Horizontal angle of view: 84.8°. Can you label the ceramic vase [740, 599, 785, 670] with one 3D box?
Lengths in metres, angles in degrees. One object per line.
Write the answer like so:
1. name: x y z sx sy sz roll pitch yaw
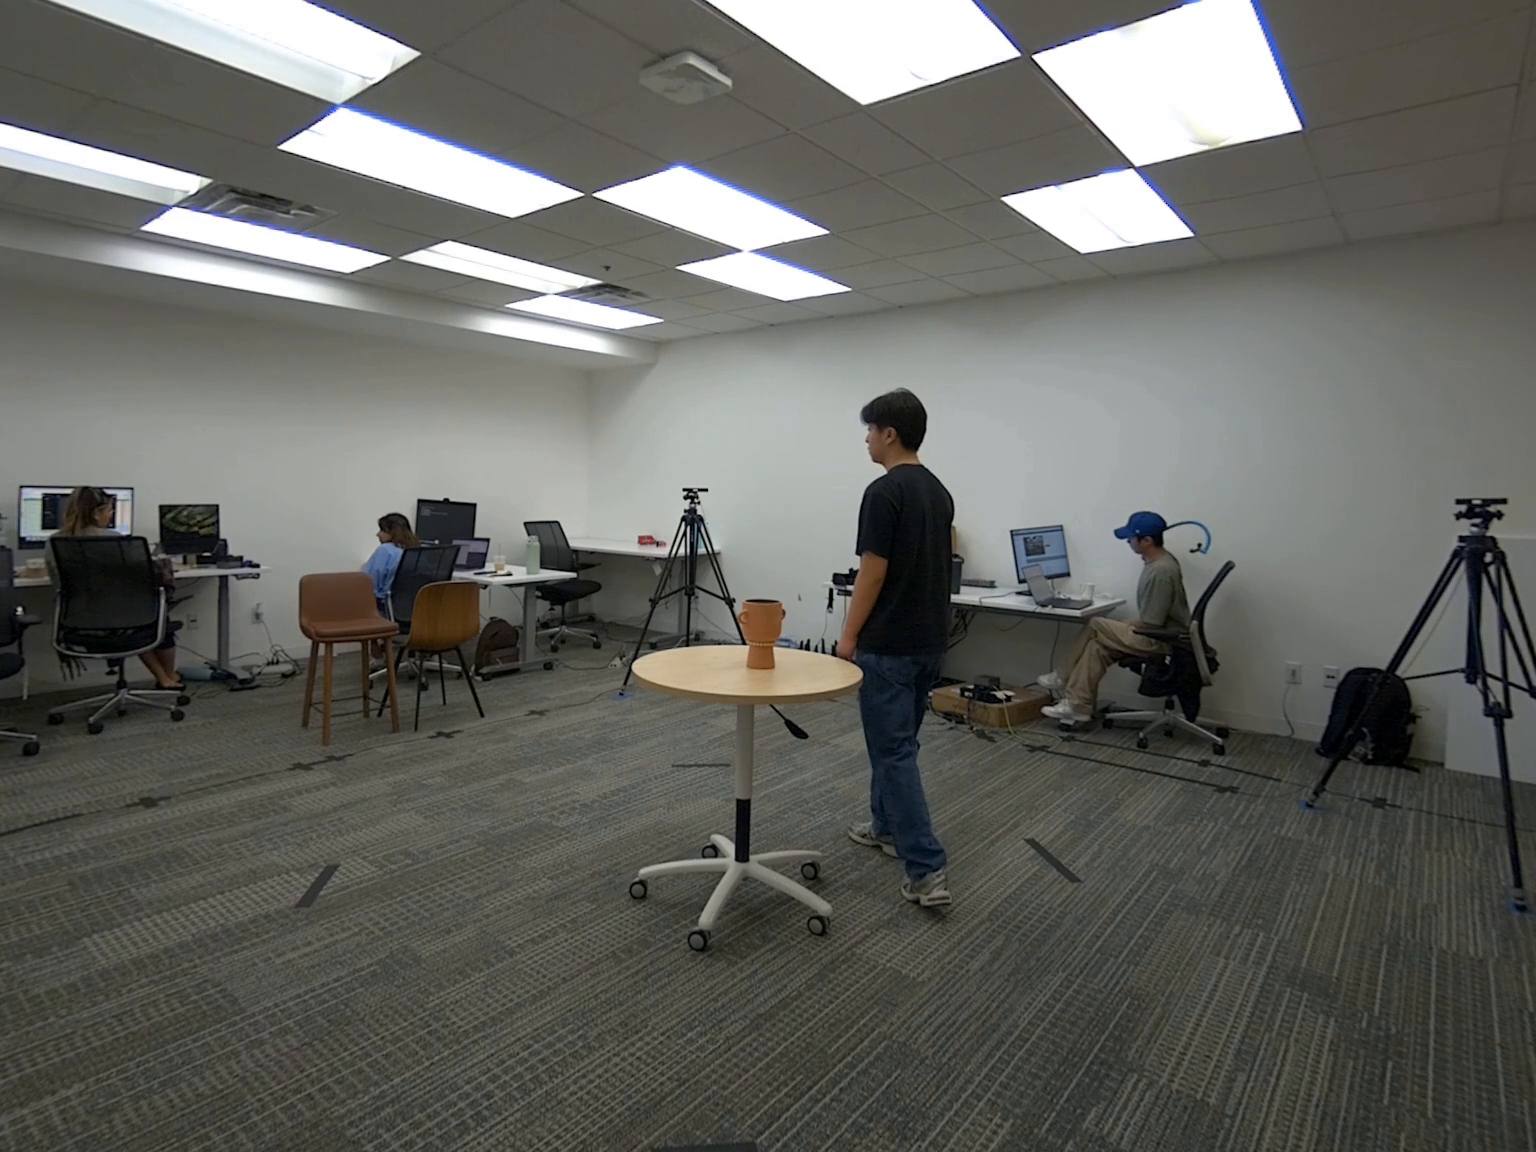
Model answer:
1. ceramic vase: -0.030 0.194 2.853 0.160 0.219 0.134 1 3 4
